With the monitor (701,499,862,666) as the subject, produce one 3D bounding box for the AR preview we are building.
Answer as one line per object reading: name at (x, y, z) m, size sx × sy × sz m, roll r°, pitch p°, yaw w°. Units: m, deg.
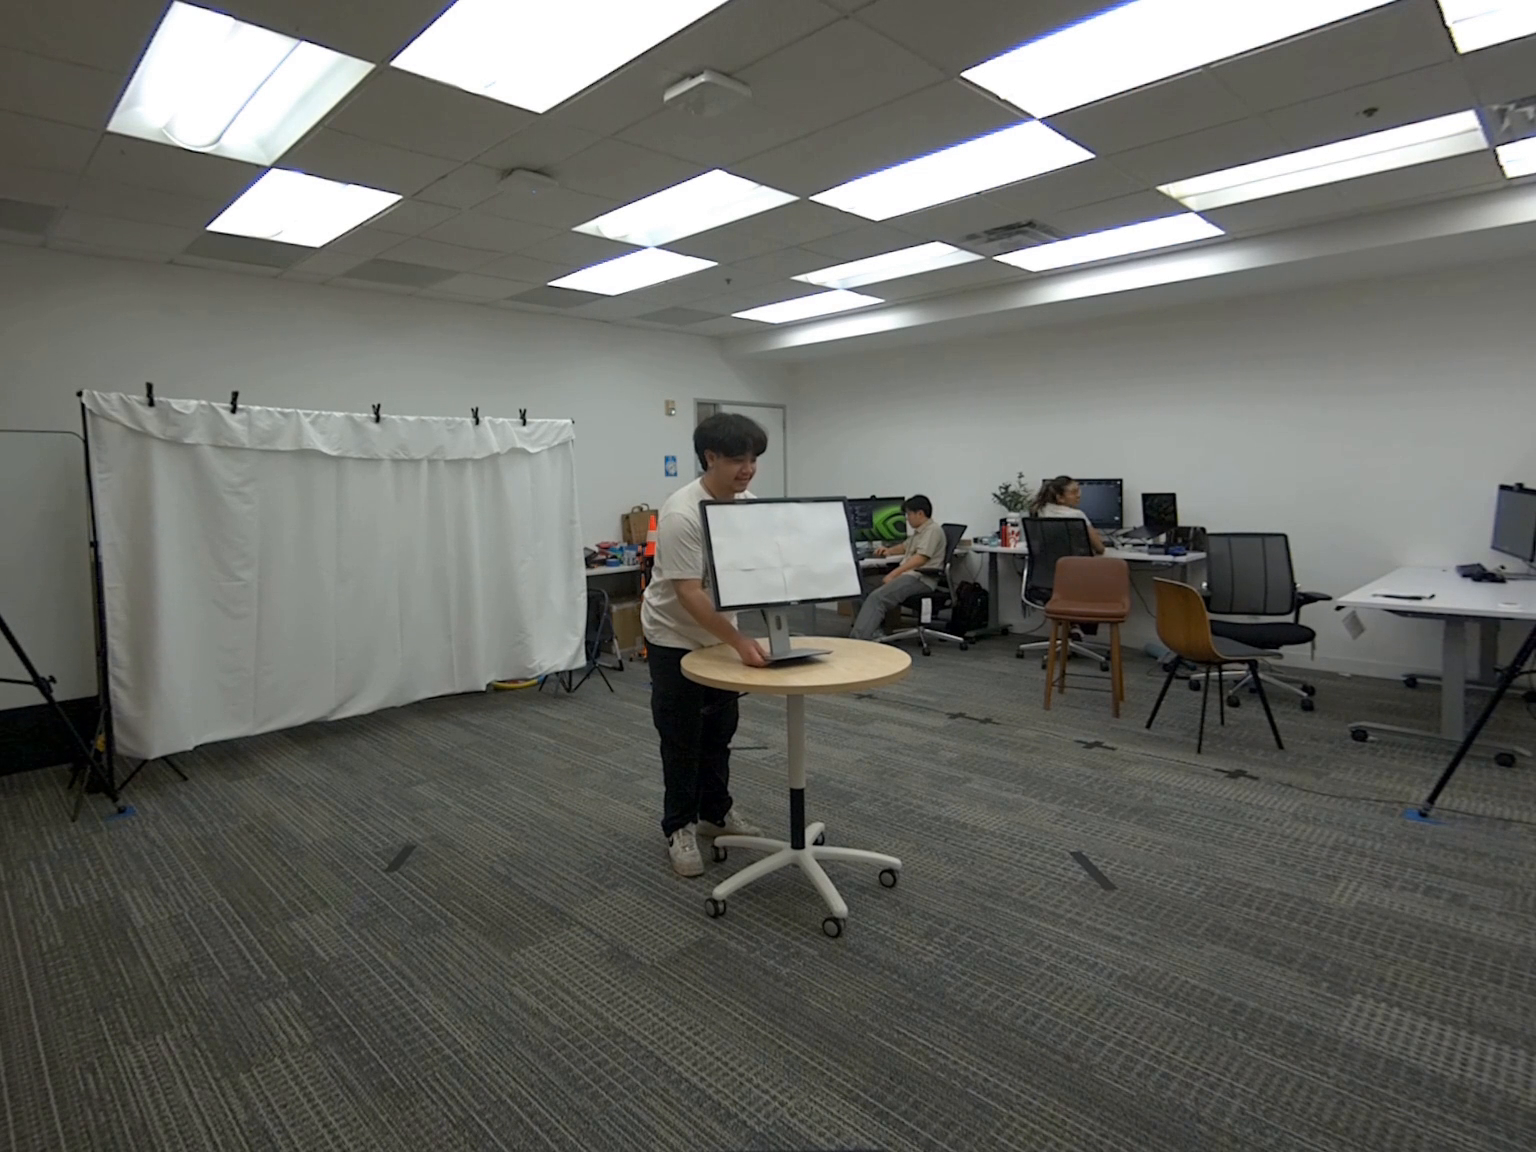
monitor at (0.029, 0.016, 2.864) m, size 0.553 × 0.558 × 0.213 m, roll -4°, pitch -7°, yaw -28°
